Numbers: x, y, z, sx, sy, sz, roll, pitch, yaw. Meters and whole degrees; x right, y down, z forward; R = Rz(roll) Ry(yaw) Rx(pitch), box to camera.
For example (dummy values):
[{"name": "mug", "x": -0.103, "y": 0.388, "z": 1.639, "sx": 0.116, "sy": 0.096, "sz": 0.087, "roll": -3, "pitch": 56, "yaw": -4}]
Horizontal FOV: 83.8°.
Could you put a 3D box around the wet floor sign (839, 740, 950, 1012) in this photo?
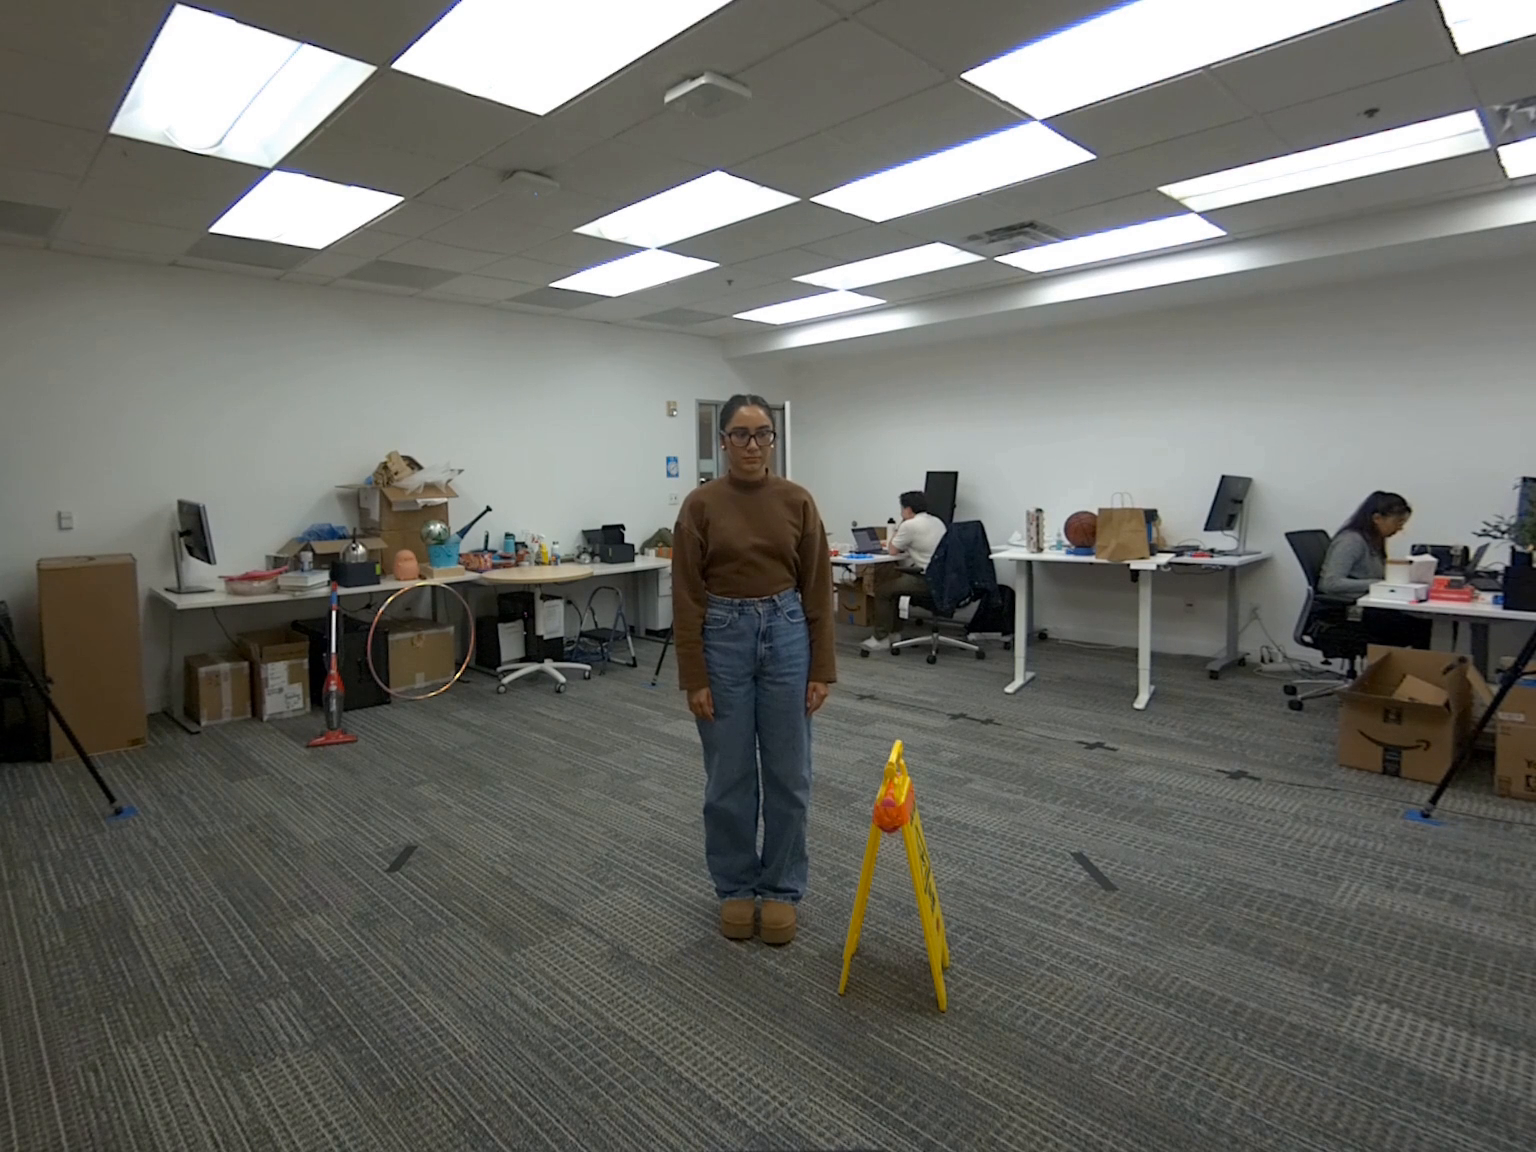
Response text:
[{"name": "wet floor sign", "x": 0.360, "y": 0.798, "z": 2.371, "sx": 0.294, "sy": 0.643, "sz": 0.279, "roll": 0, "pitch": 5, "yaw": 15}]
